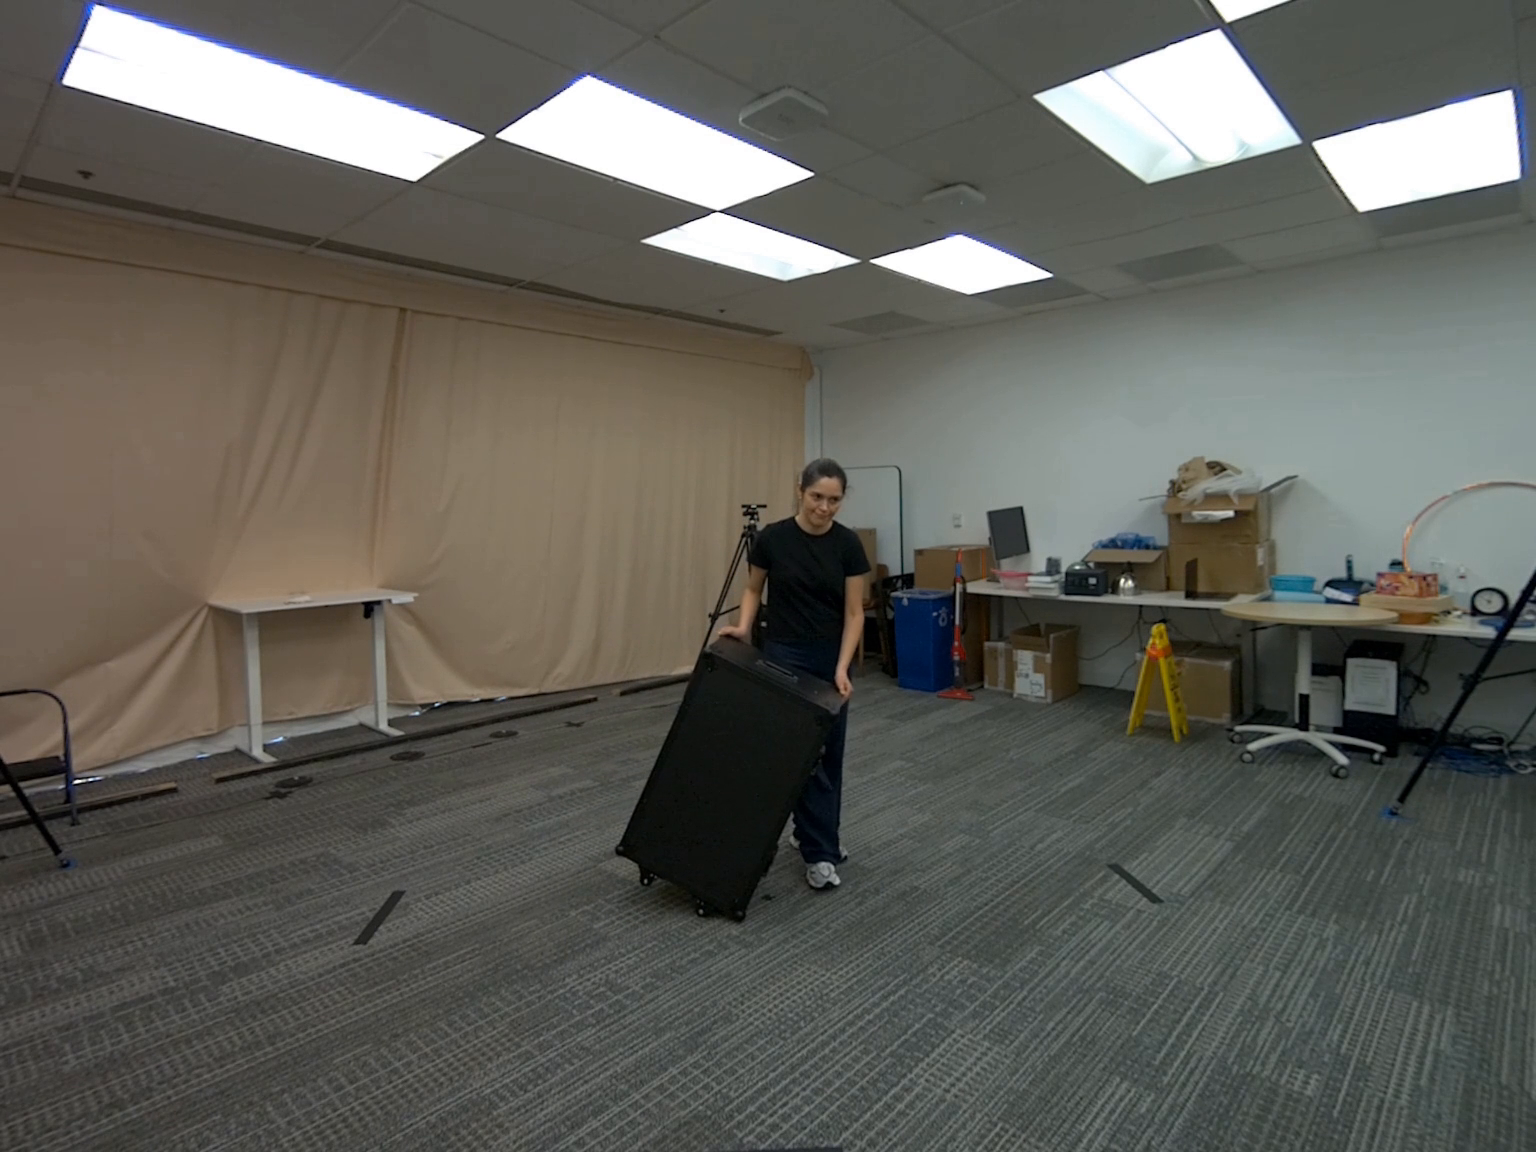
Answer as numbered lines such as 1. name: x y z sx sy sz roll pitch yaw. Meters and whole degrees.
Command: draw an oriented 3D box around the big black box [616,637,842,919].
1. big black box: -0.125 0.709 2.970 0.528 0.860 0.392 26 7 9
